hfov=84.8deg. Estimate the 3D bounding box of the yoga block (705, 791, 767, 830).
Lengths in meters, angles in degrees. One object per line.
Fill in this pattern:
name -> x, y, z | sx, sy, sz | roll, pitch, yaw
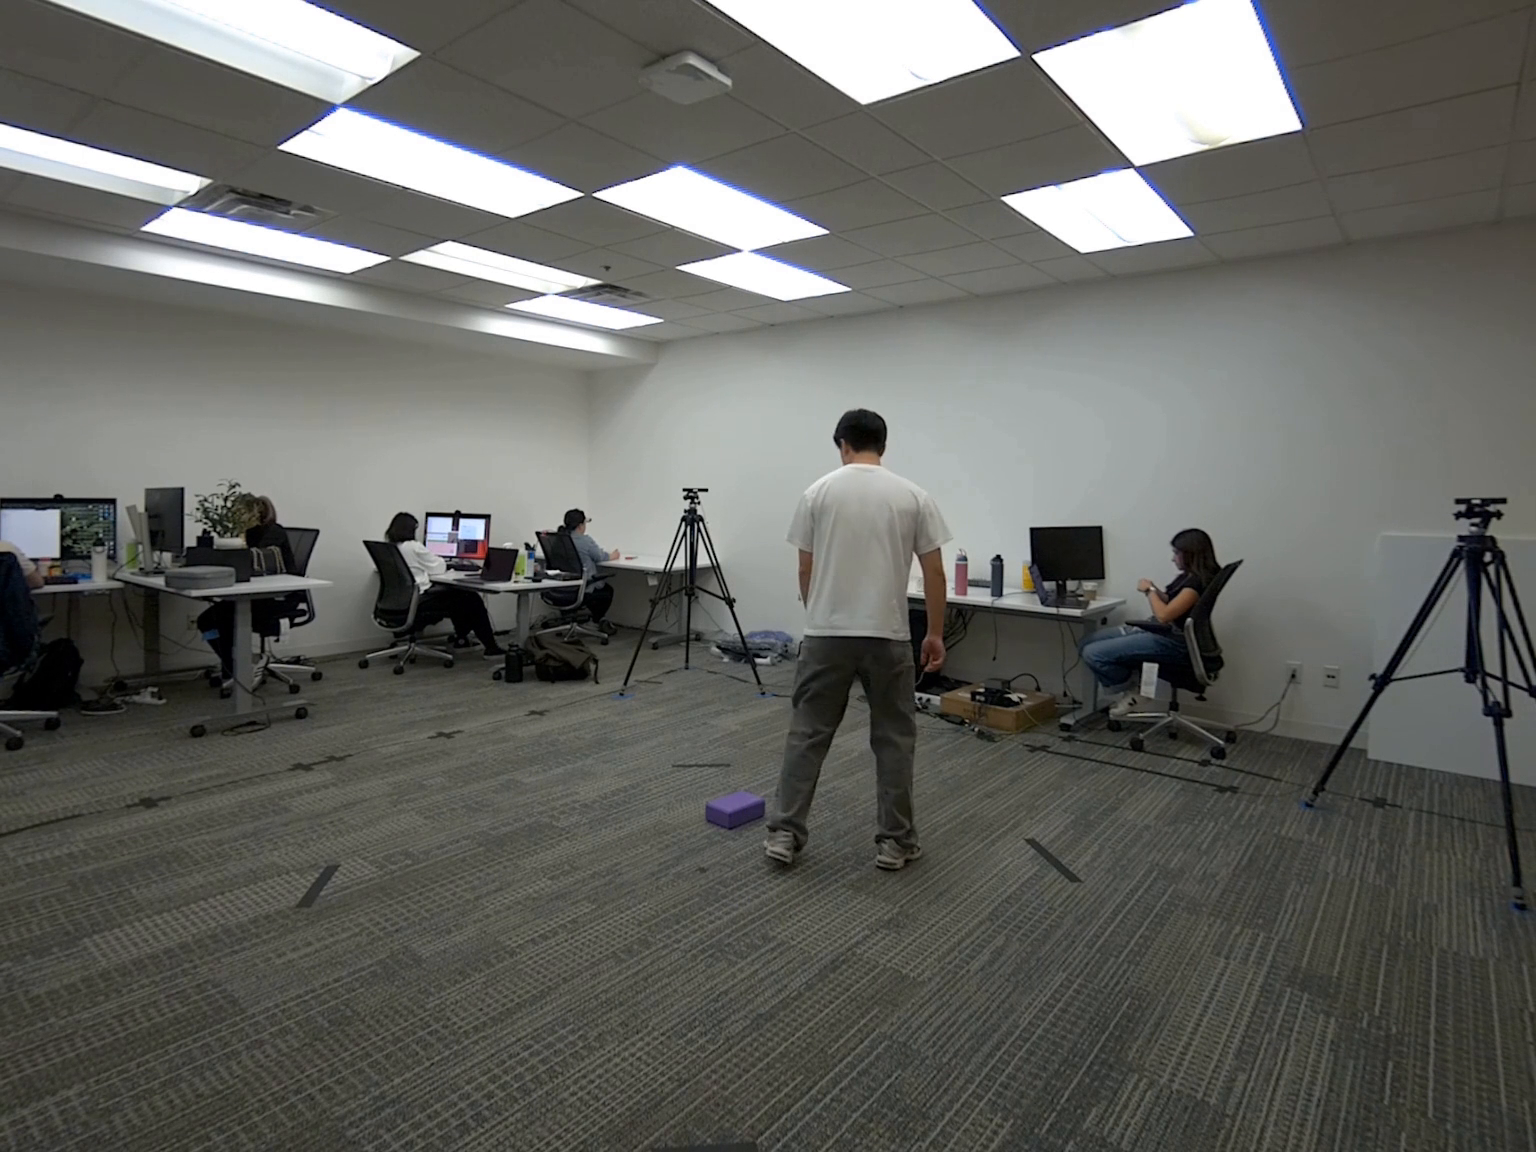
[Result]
yoga block -> -0.137, 0.980, 3.605 | 0.154, 0.076, 0.222 | 5, 7, 42
